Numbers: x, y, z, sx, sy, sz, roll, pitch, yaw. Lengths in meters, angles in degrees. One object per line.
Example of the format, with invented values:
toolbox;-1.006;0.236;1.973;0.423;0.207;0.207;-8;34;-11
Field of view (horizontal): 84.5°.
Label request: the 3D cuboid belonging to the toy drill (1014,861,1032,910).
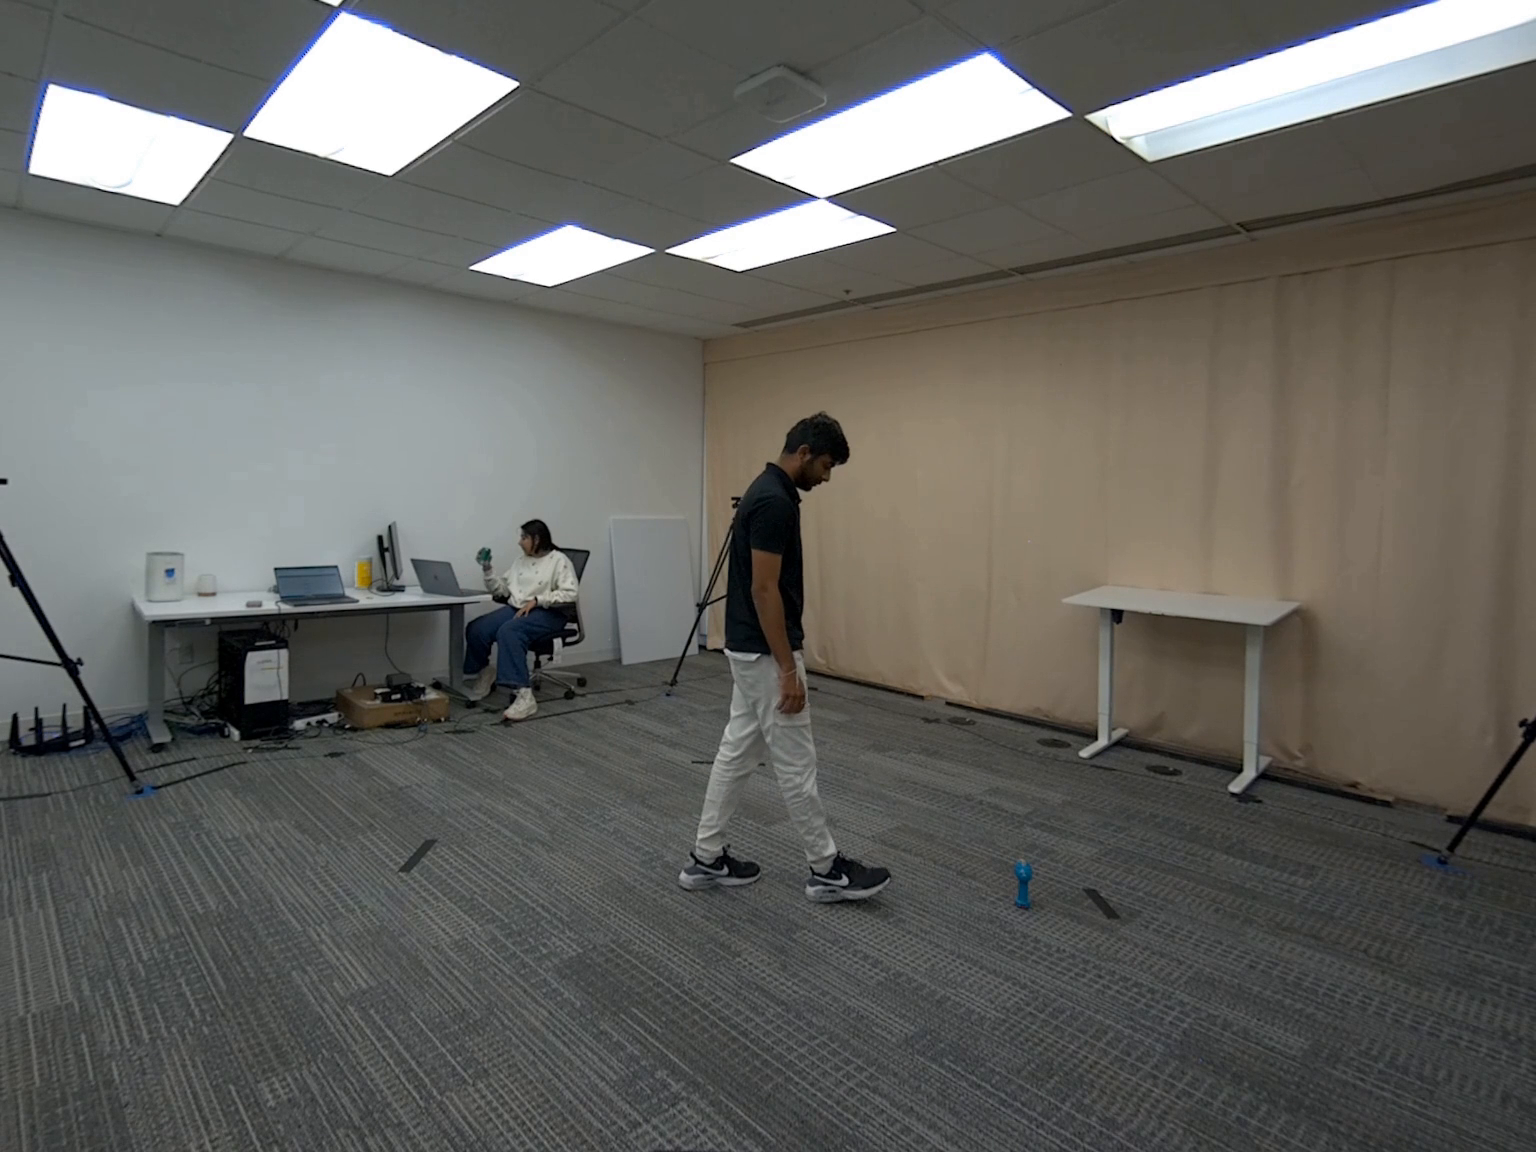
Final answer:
toy drill;0.885;1.073;2.972;0.061;0.145;0.169;2;4;8
